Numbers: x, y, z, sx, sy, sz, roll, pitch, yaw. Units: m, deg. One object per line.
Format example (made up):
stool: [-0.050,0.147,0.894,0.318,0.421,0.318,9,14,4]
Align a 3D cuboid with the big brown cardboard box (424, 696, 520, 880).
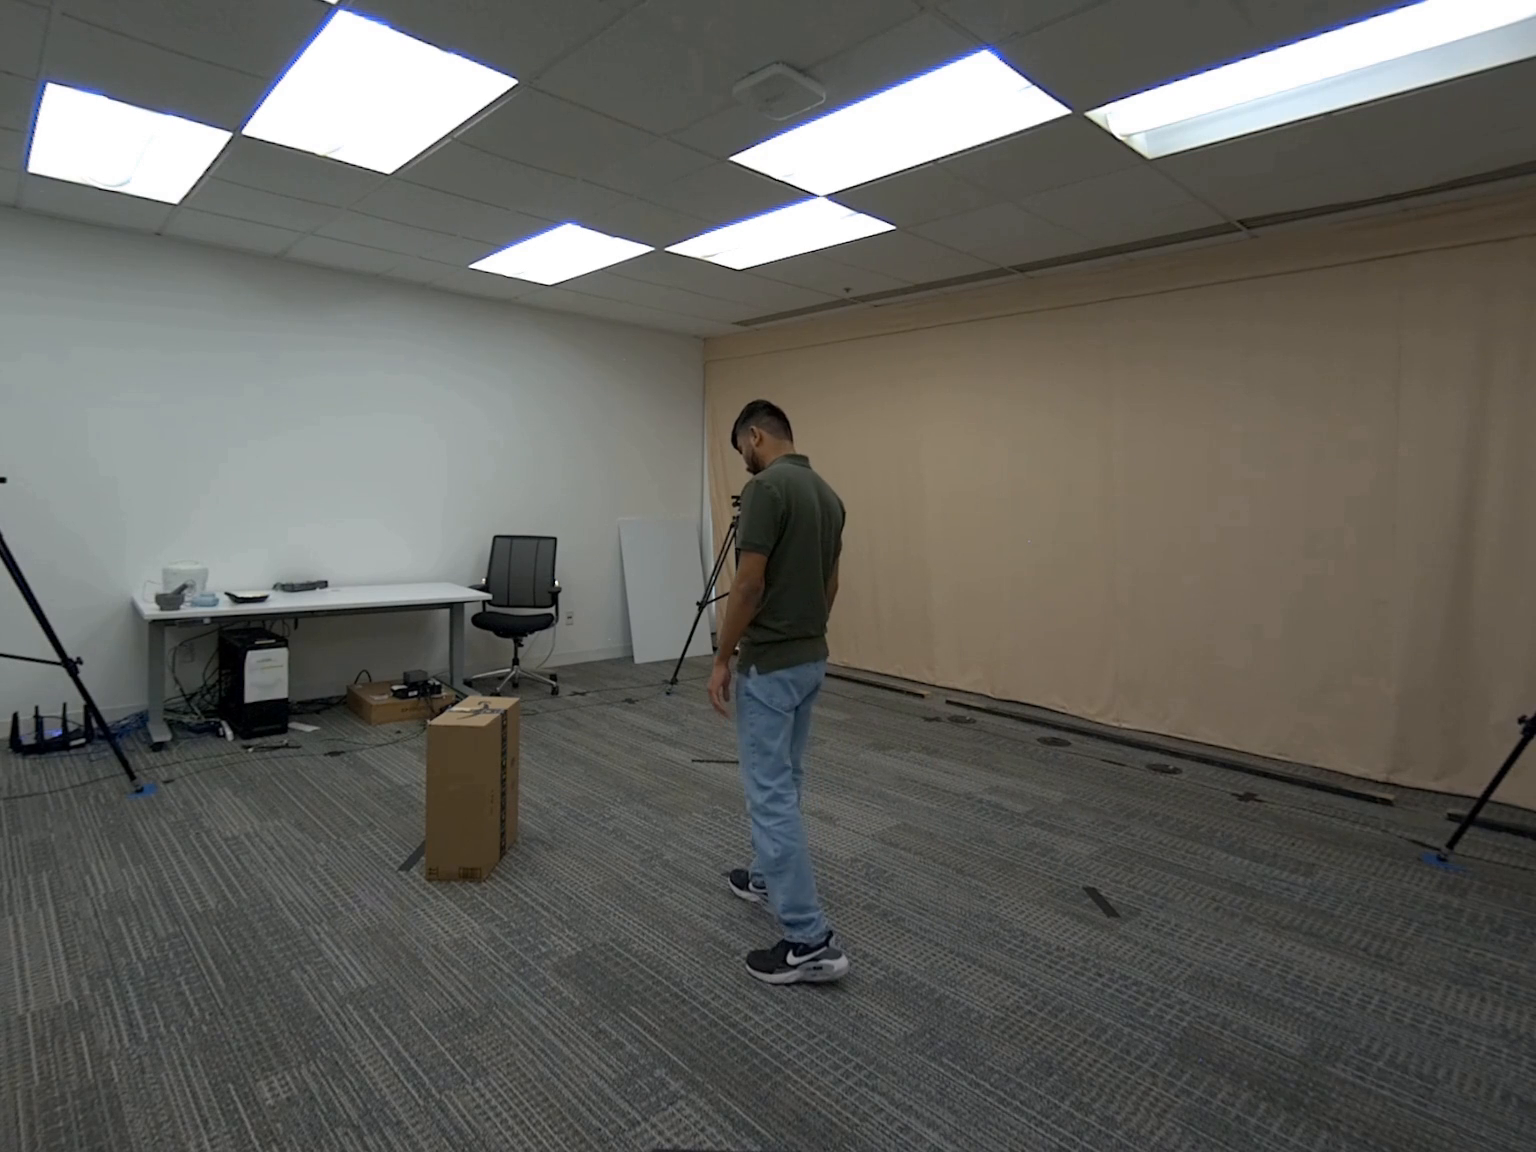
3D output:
big brown cardboard box: [-1.120,0.793,3.195,0.233,0.588,0.417,3,3,1]
